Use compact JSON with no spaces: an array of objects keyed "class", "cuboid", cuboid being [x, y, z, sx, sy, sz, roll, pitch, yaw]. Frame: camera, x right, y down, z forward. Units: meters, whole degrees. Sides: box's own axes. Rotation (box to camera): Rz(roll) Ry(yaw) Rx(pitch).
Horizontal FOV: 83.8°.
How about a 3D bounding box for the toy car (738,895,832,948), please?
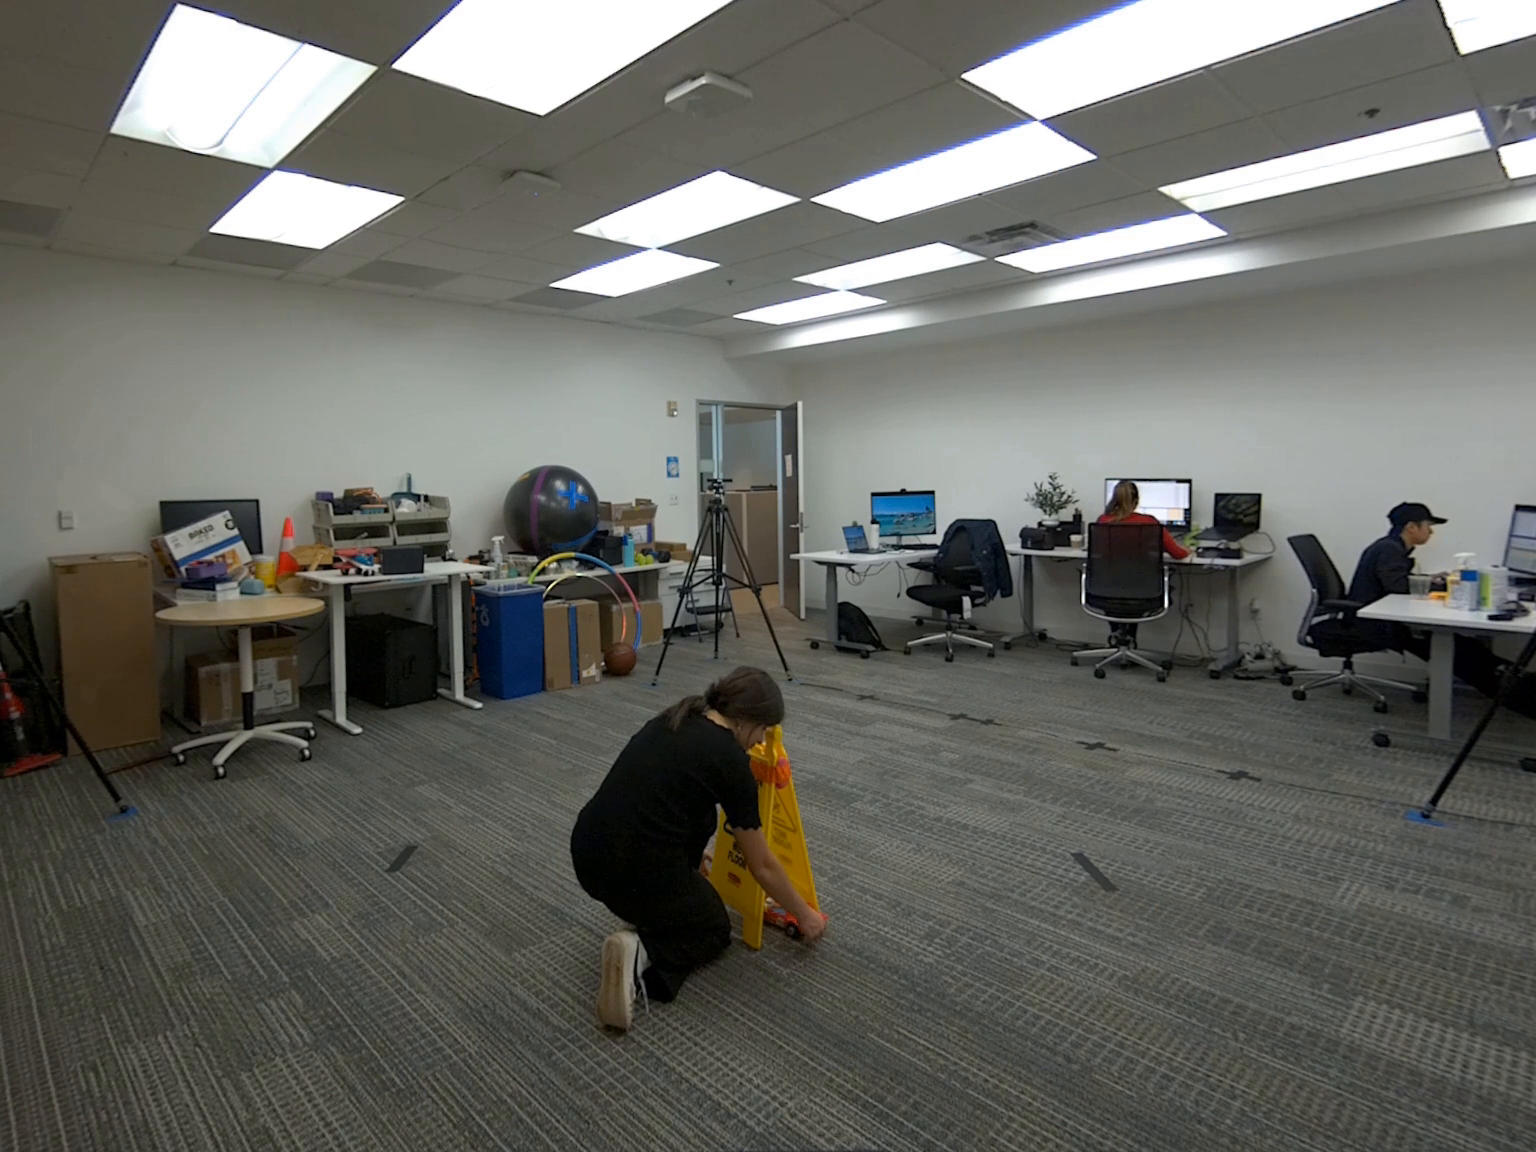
[{"class":"toy car","cuboid":[0.049,1.069,2.664,0.260,0.083,0.127,-11,-5,40]}]
